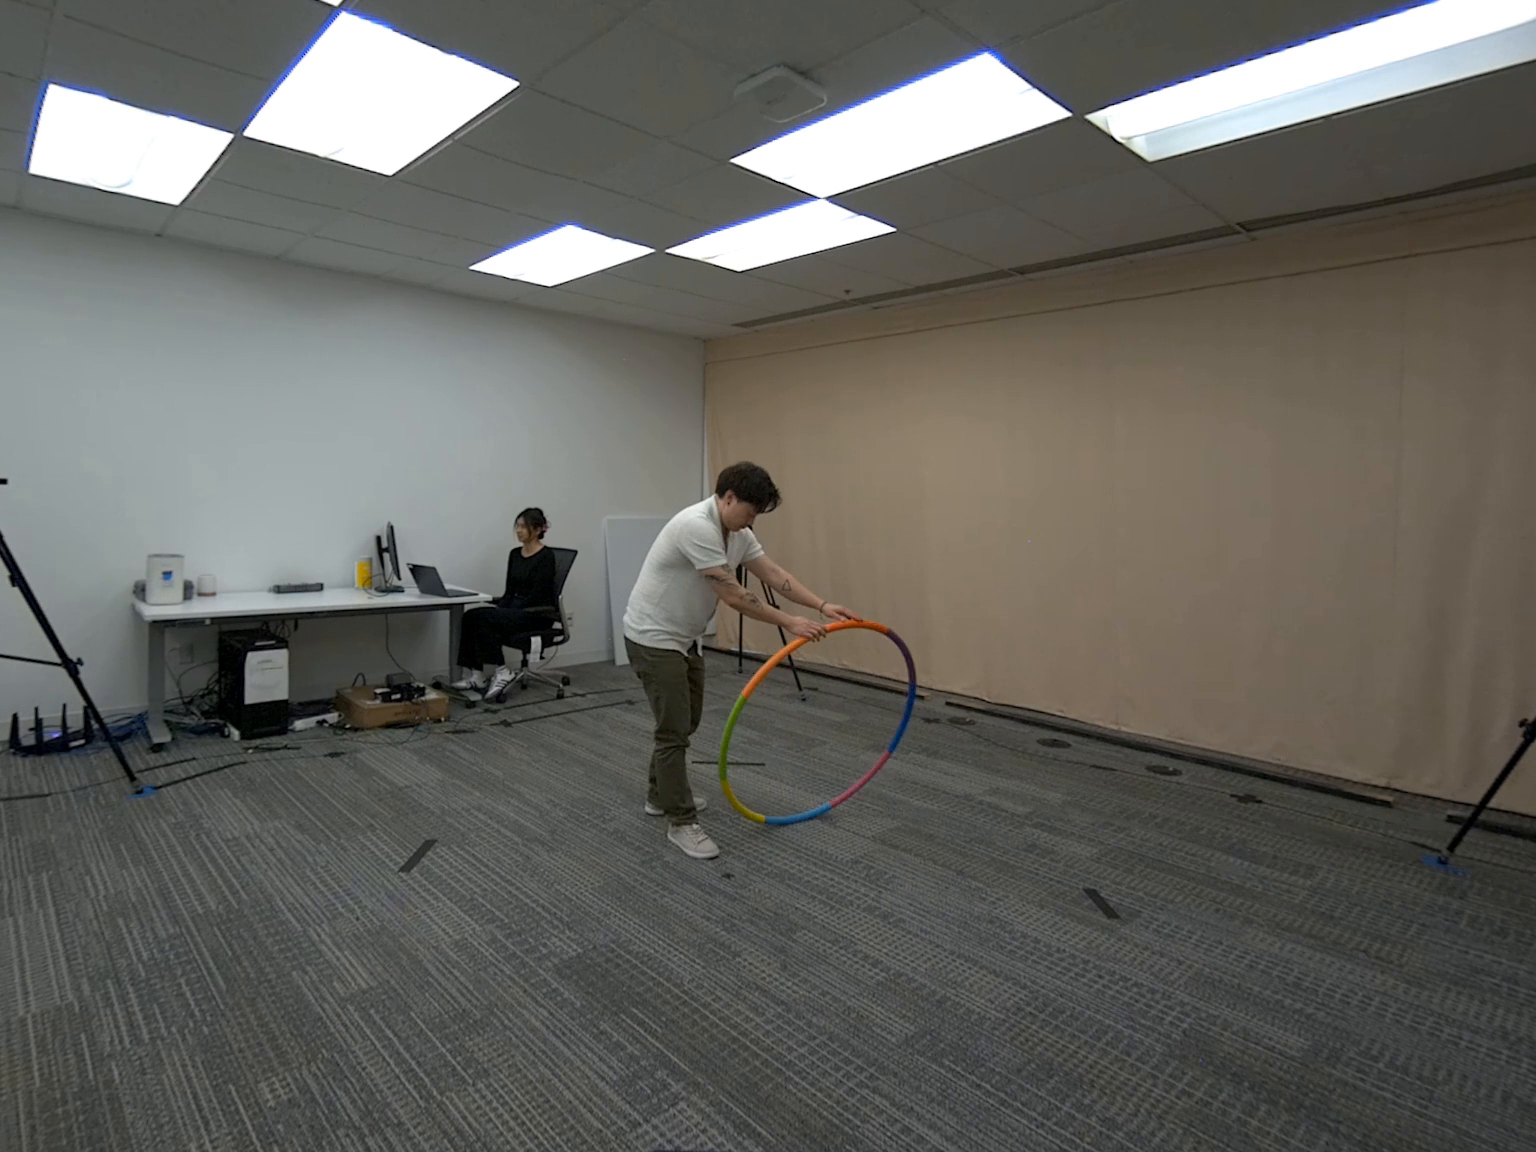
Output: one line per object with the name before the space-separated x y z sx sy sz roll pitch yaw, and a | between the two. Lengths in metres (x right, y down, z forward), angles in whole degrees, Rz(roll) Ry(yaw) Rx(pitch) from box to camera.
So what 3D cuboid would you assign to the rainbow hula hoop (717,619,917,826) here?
rainbow hula hoop | 0.217 0.619 3.500 0.958 0.968 0.037 -1 25 -34
